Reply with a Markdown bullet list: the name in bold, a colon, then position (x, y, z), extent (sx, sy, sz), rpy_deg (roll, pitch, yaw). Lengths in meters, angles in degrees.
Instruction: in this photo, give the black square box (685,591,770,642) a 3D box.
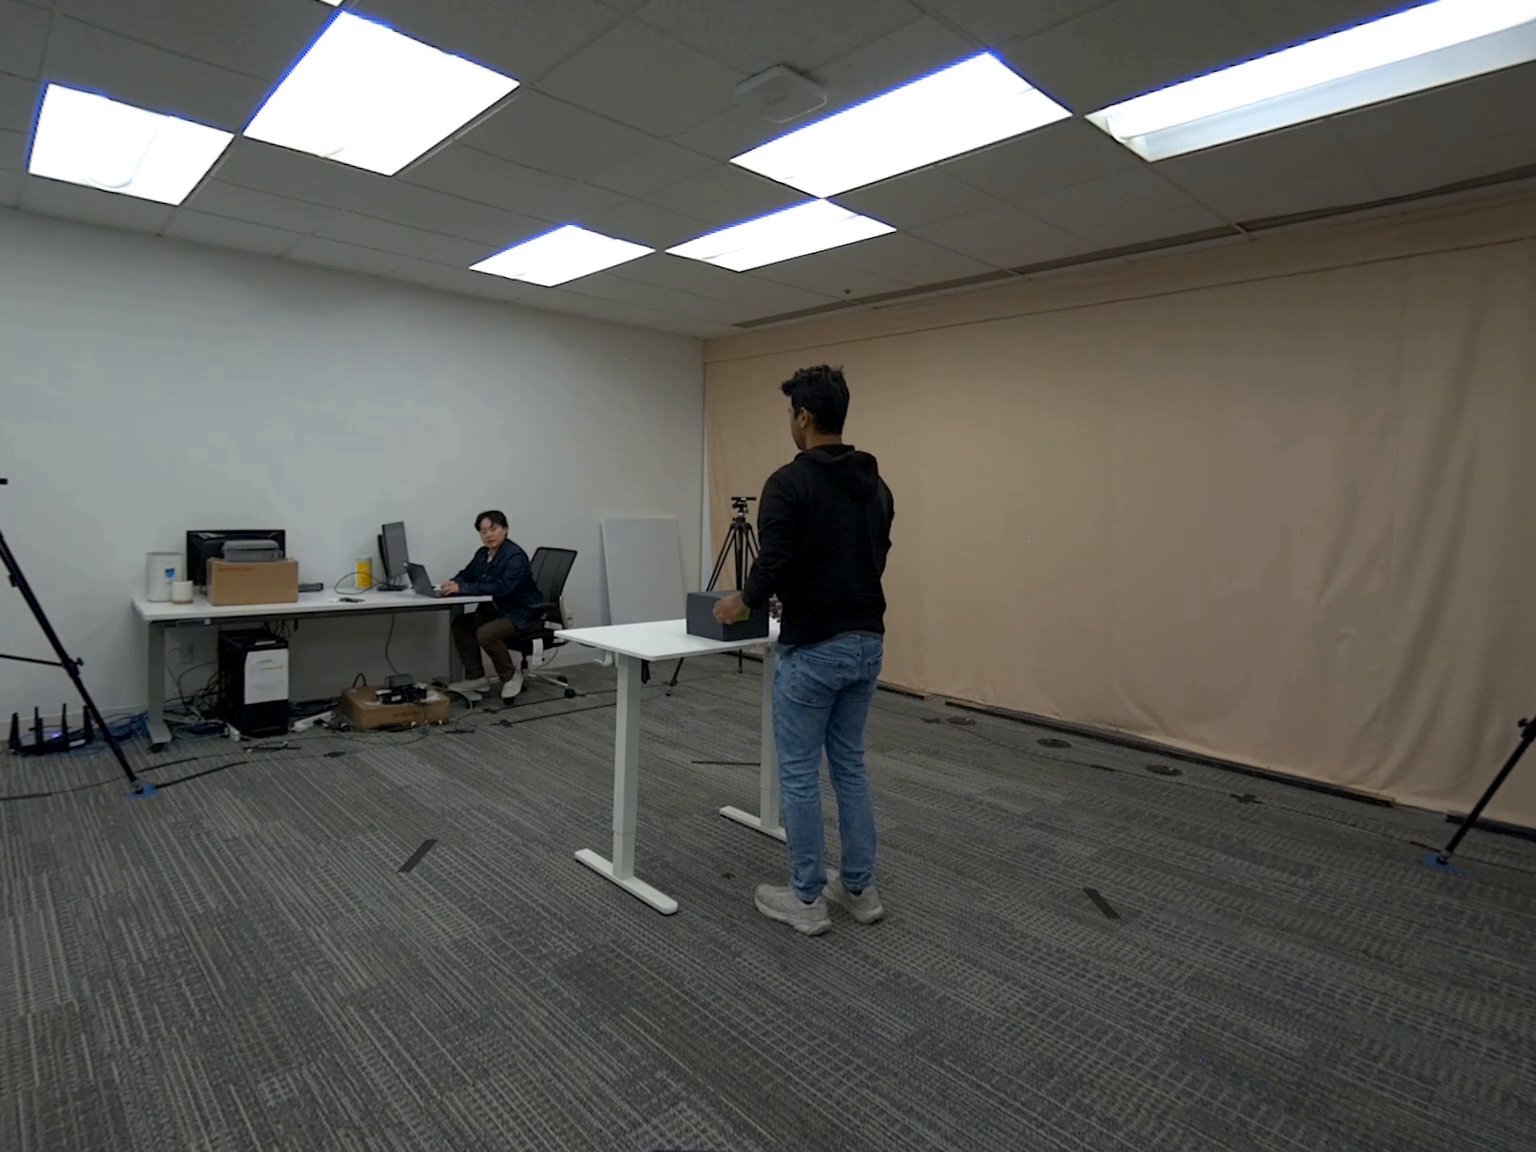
- **black square box**: position (-0.158, 0.142, 3.138), extent (0.222, 0.155, 0.222), rpy_deg (-2, 6, -43)
